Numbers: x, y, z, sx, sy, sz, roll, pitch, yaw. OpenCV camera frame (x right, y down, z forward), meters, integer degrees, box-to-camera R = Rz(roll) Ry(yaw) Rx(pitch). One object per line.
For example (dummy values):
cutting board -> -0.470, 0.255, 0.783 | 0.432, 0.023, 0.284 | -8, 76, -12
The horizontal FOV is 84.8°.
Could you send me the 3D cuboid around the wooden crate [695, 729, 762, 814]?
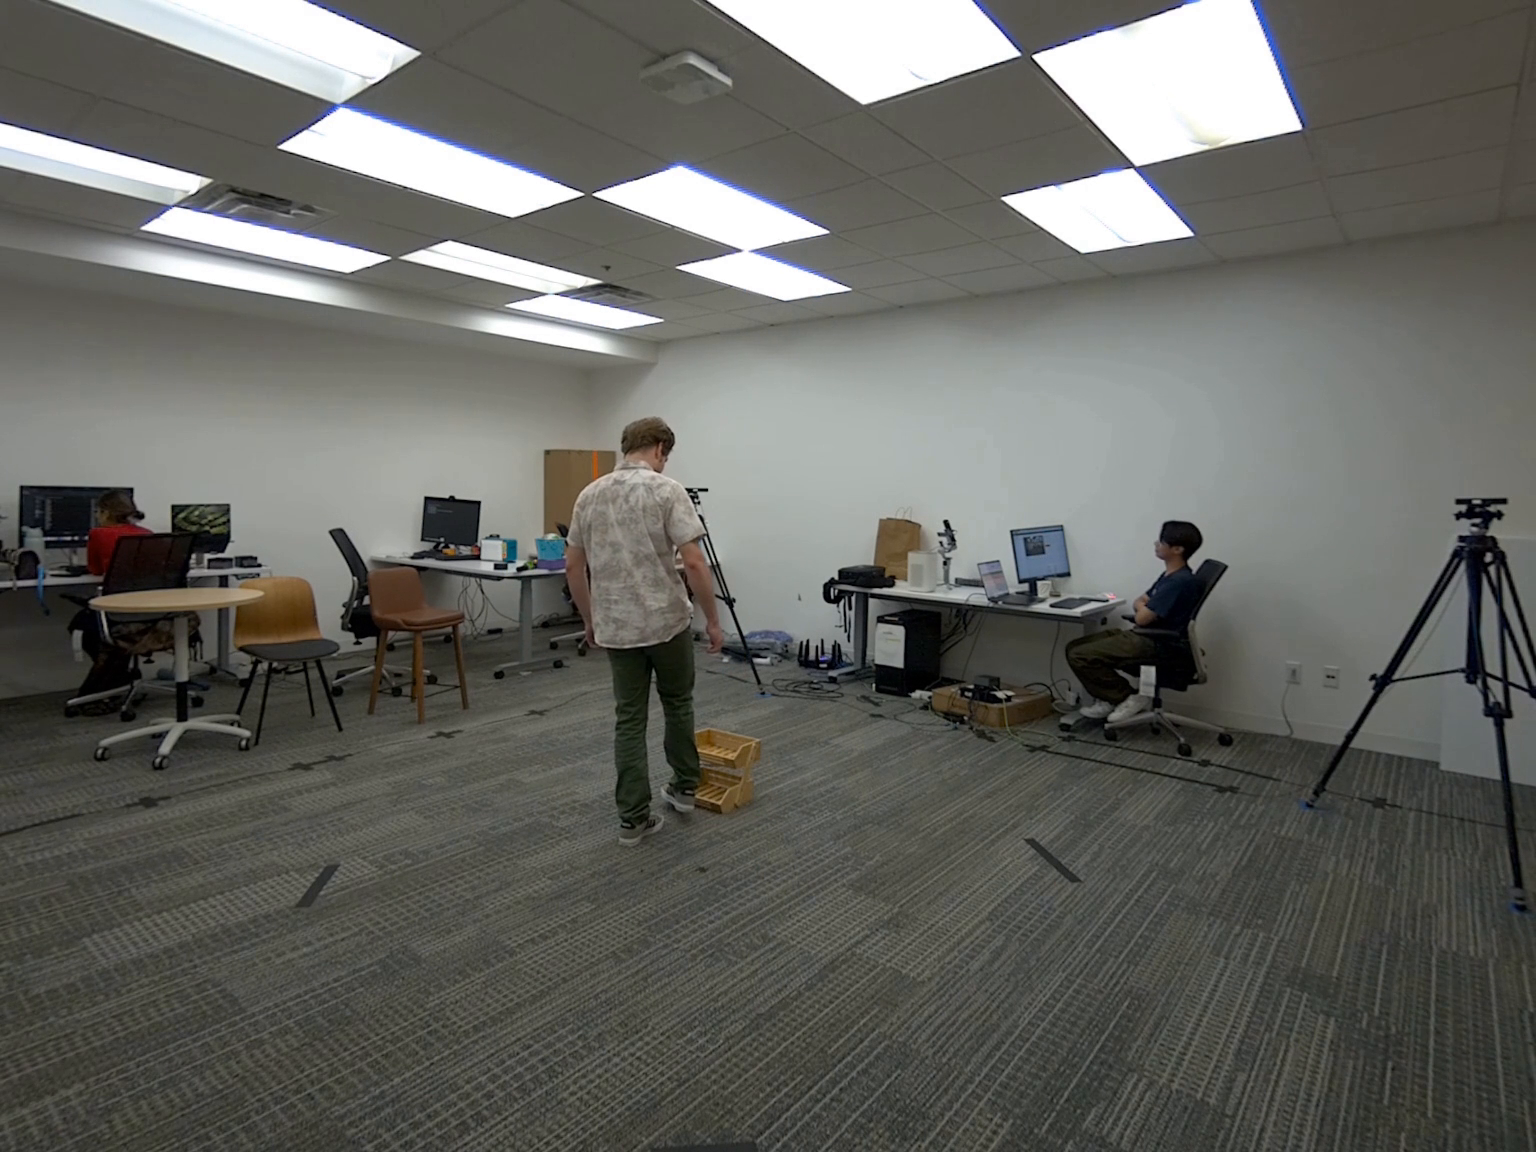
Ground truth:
wooden crate -> -0.250, 0.865, 3.838 | 0.335, 0.272, 0.293 | 4, 5, 34
